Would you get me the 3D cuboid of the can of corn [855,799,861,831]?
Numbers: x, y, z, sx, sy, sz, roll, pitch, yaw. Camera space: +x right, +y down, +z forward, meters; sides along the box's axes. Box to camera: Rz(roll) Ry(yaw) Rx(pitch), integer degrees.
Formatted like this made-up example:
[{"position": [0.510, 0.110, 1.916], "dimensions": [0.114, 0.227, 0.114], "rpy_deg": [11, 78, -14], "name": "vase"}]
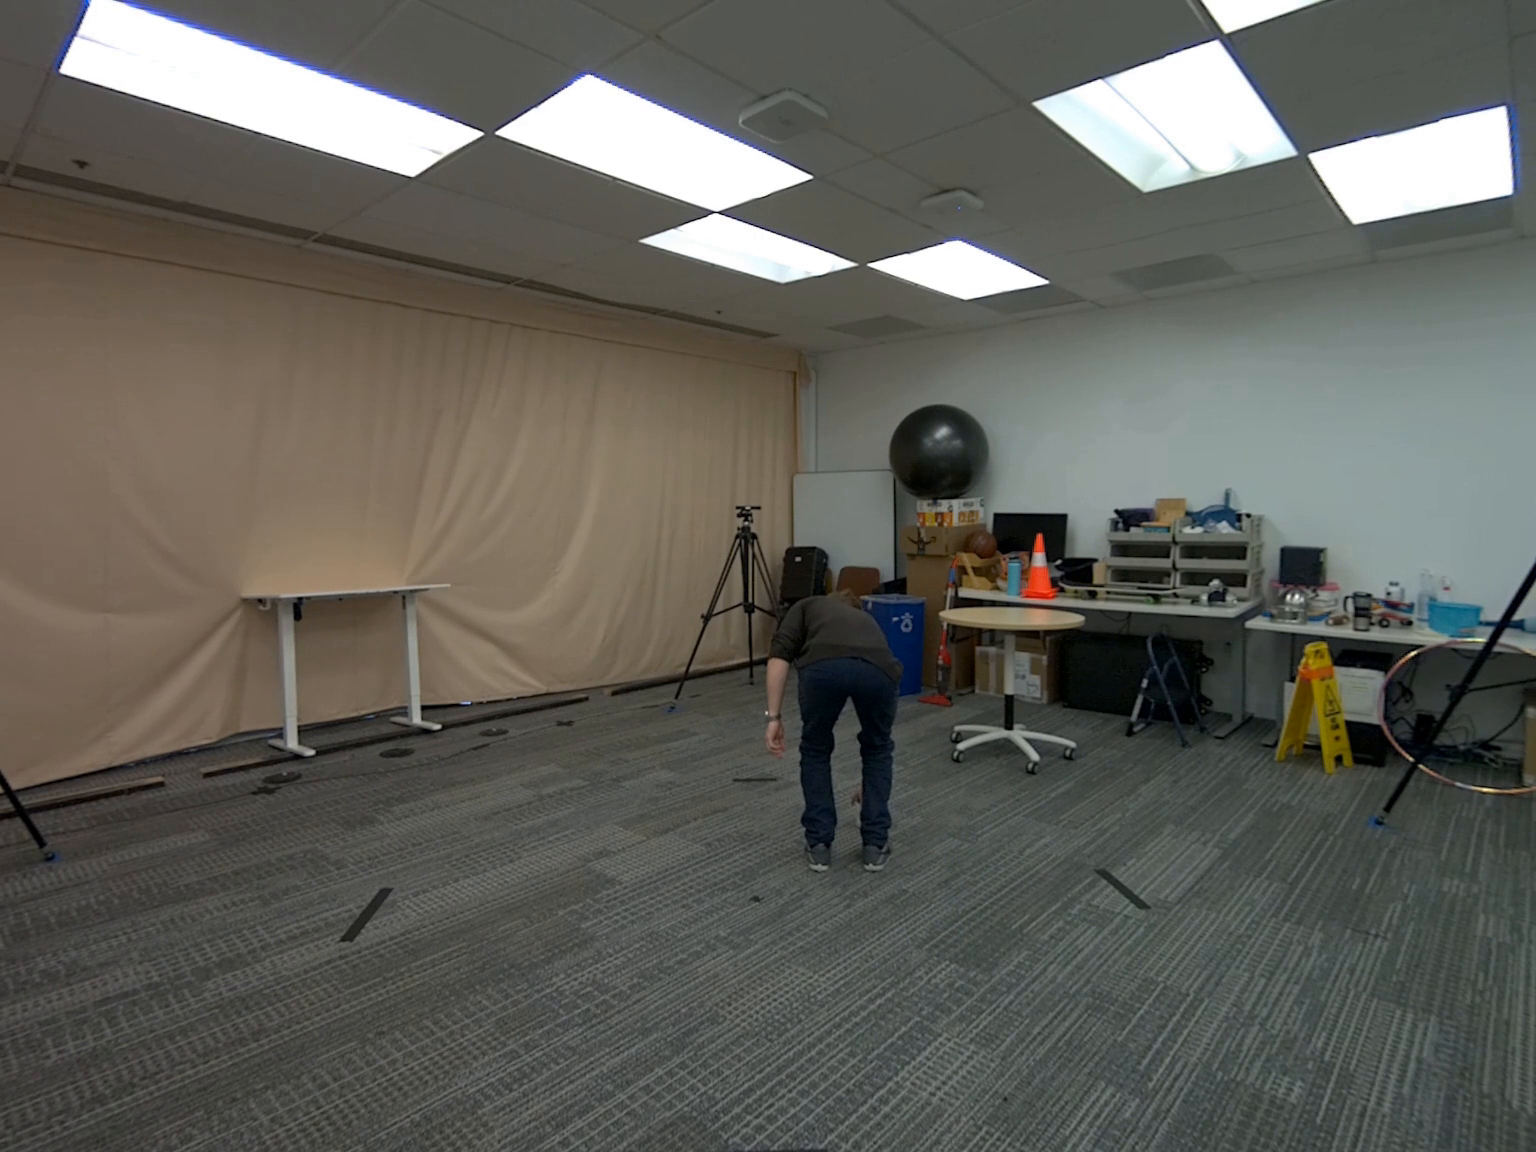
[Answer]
[{"position": [0.420, 1.028, 3.652], "dimensions": [0.074, 0.111, 0.074], "rpy_deg": [-1, 3, -2], "name": "can of corn"}]
